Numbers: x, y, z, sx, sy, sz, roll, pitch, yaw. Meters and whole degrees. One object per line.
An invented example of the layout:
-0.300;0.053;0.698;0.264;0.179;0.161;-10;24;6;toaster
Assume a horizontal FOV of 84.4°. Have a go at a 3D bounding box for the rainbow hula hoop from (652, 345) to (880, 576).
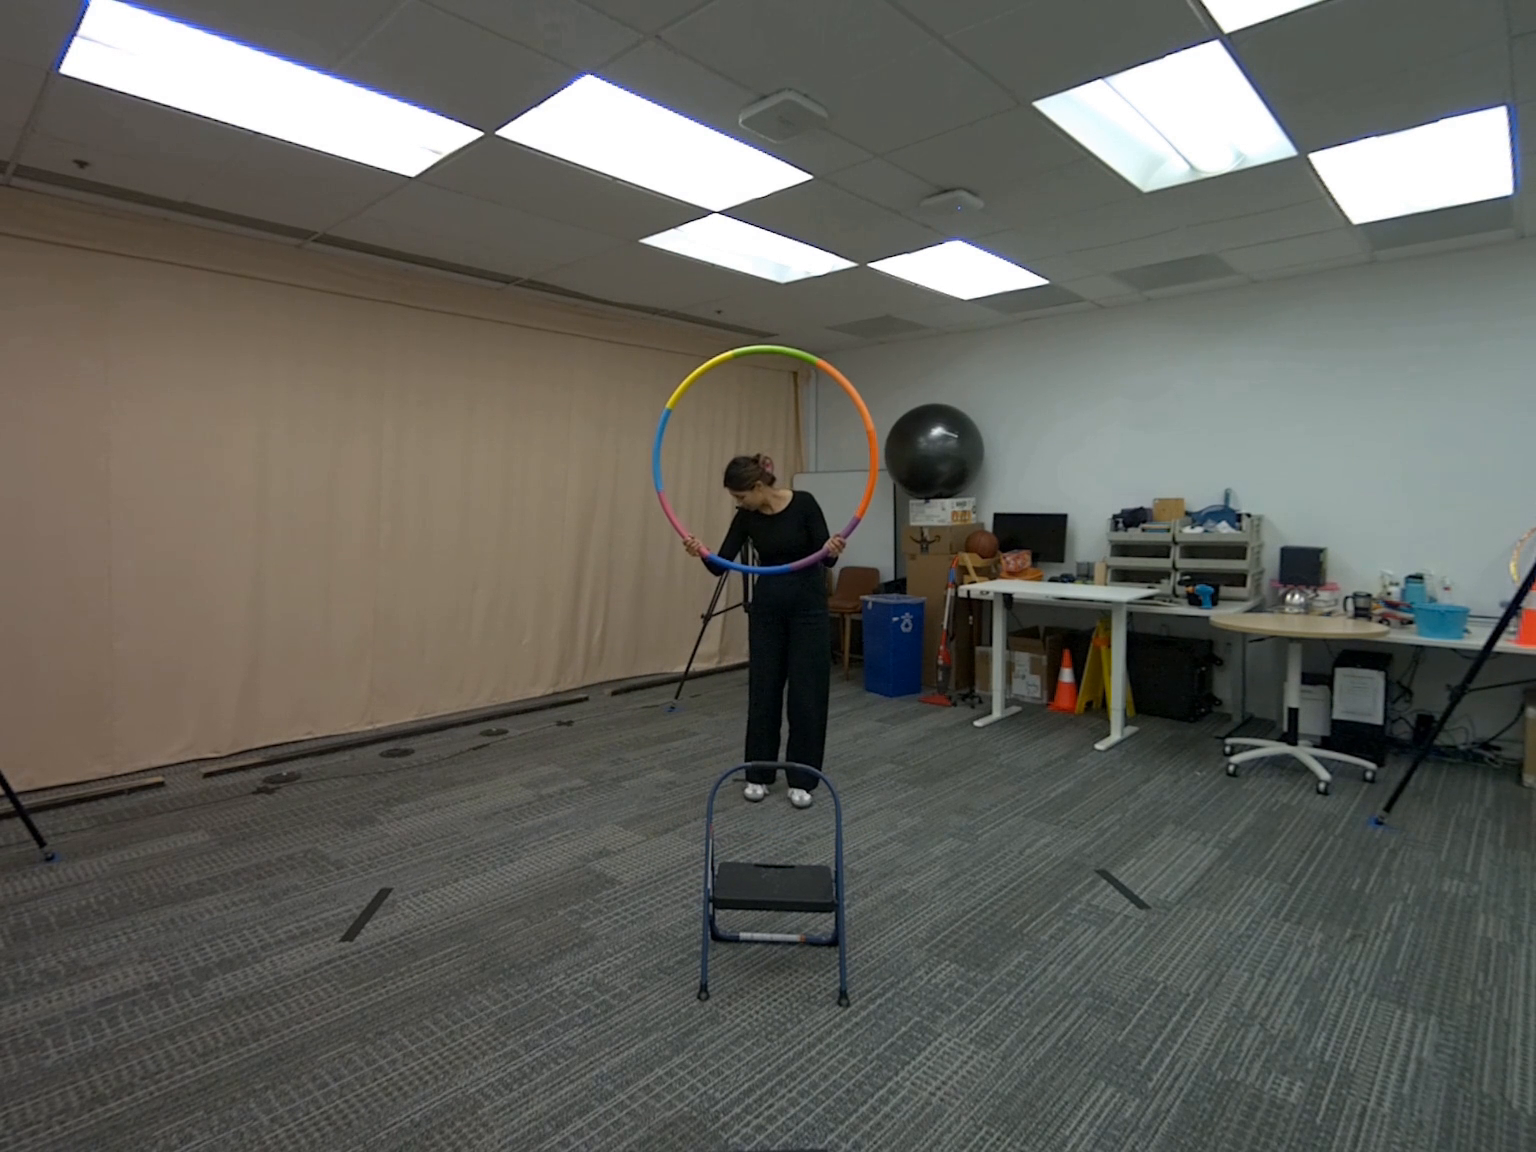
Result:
-0.026;-0.489;3.644;0.993;0.975;0.035;1;5;14;rainbow hula hoop
